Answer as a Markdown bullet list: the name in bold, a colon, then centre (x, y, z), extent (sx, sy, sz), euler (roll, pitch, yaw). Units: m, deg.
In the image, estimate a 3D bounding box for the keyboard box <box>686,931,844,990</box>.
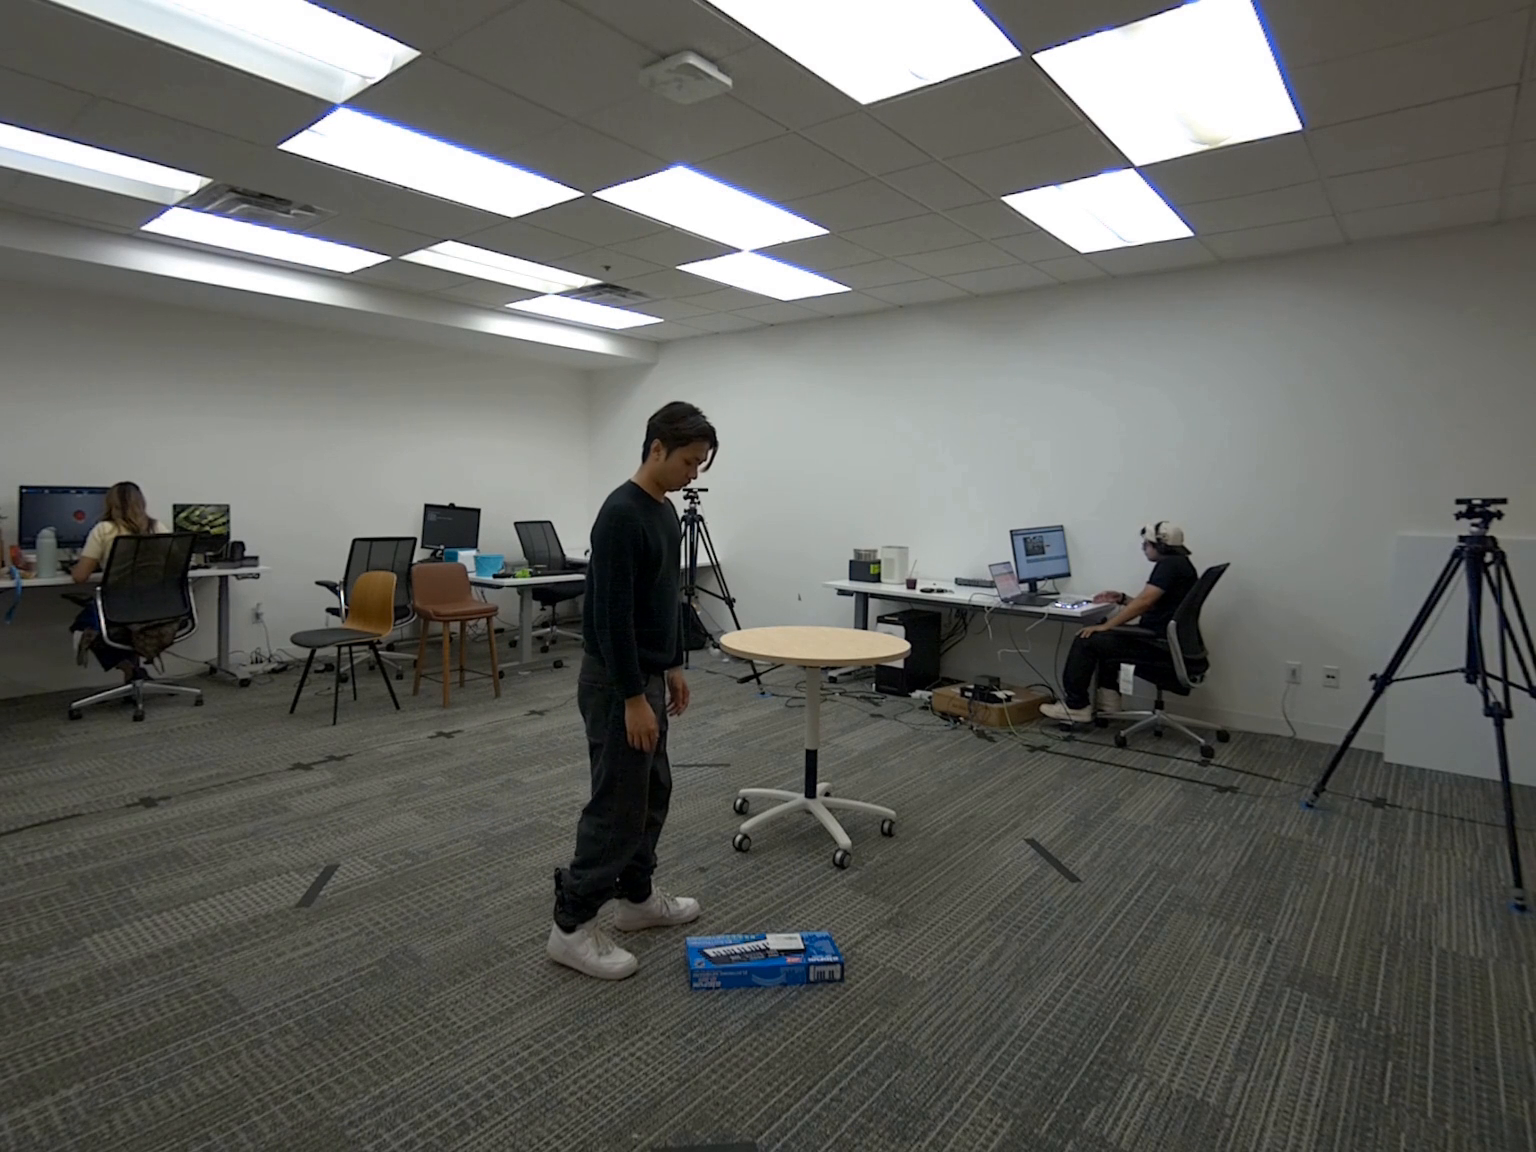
- **keyboard box**: centre (-0.023, 1.110, 2.463), extent (0.433, 0.059, 0.178), euler (0, 6, -8)
